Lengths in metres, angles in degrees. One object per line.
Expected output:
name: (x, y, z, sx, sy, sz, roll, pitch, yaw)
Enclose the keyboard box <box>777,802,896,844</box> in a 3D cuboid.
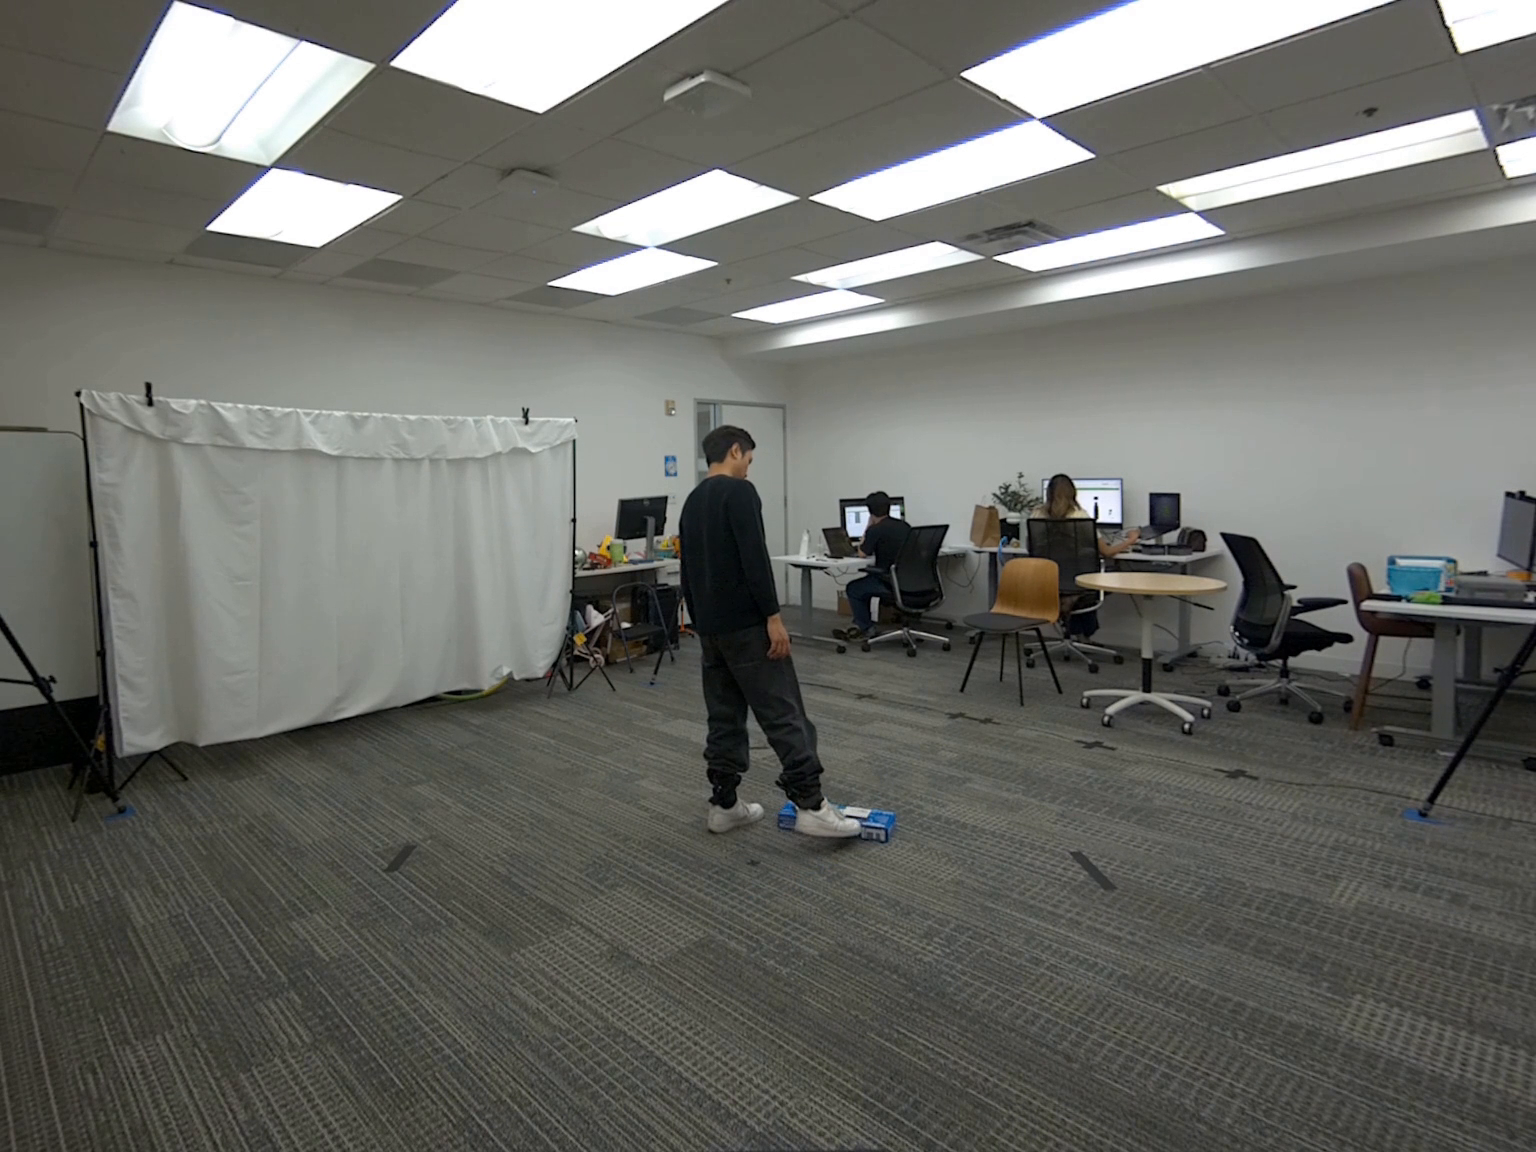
keyboard box: (0.269, 0.969, 3.402, 0.446, 0.059, 0.173, 2, 6, 21)
